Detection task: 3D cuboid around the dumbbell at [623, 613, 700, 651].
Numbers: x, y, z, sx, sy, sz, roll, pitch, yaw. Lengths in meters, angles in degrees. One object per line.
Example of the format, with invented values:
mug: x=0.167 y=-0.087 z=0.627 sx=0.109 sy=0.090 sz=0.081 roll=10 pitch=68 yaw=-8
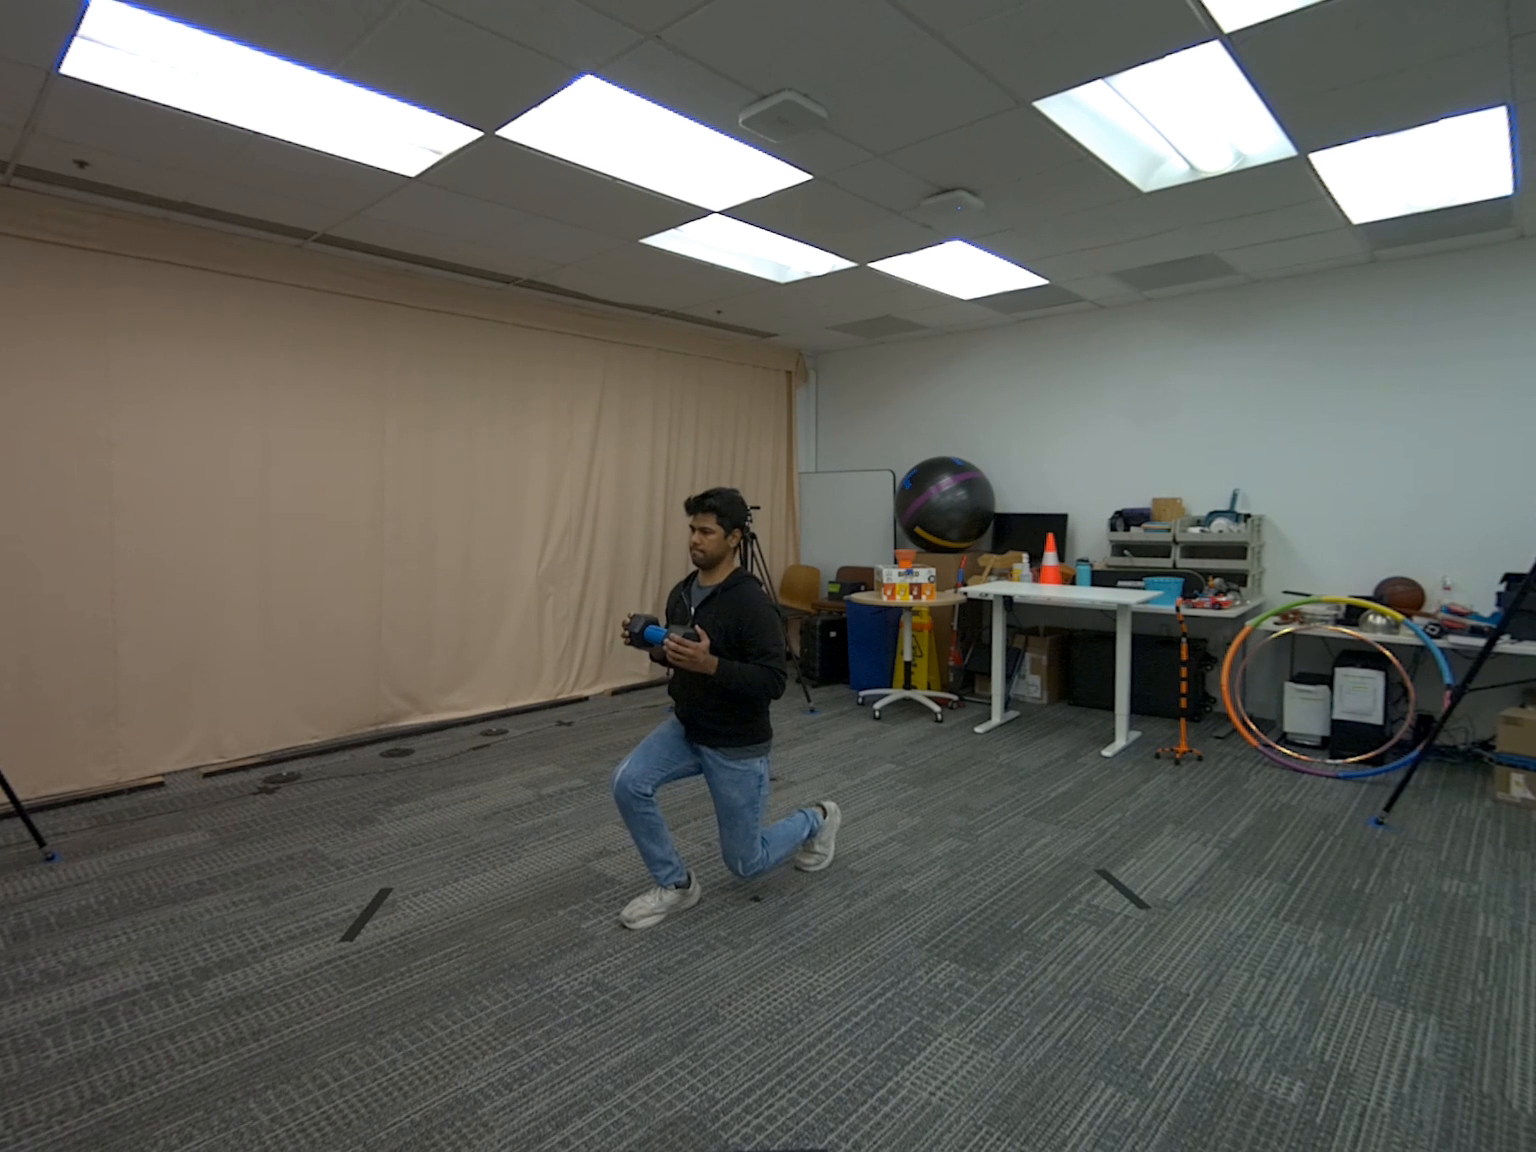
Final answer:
dumbbell: x=-0.346 y=0.199 z=2.810 sx=0.107 sy=0.121 sz=0.304 roll=-29 pitch=27 yaw=-35
